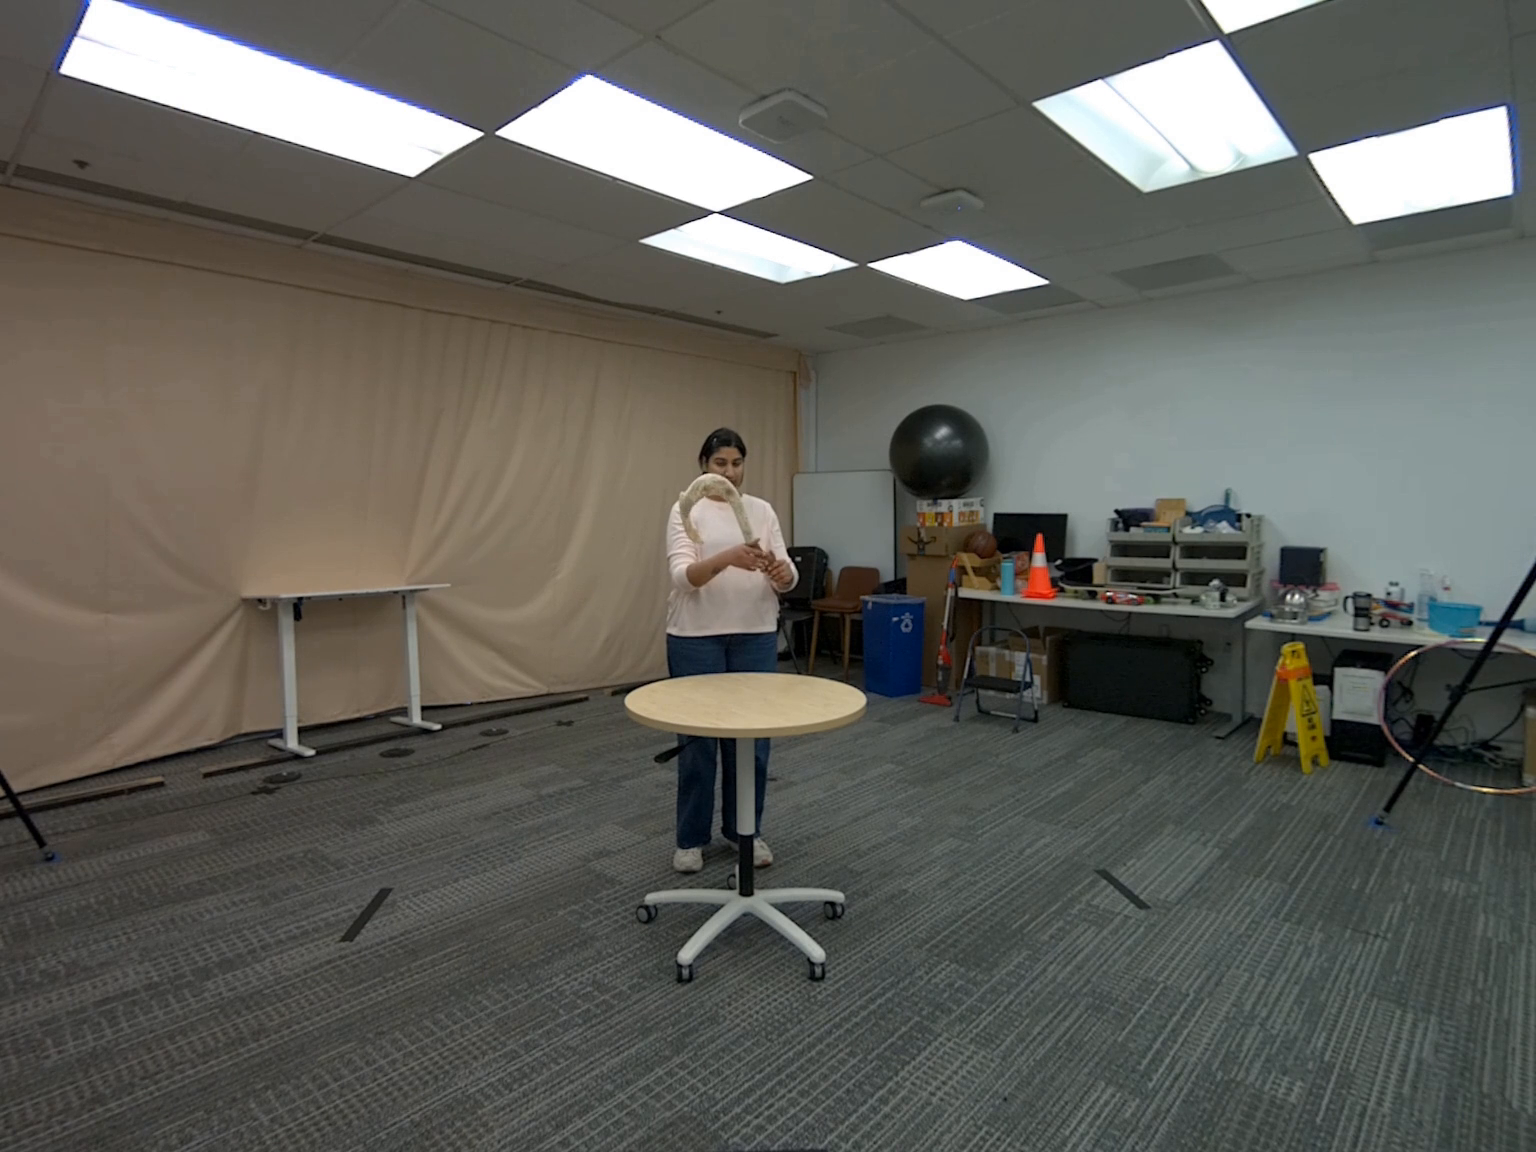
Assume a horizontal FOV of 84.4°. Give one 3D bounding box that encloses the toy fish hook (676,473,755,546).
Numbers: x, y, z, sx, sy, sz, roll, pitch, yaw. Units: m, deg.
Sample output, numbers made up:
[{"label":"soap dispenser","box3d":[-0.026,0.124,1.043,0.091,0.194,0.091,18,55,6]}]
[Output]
[{"label":"toy fish hook","box3d":[-0.126,-0.119,2.866,0.224,0.493,0.050,-39,26,-4]}]
